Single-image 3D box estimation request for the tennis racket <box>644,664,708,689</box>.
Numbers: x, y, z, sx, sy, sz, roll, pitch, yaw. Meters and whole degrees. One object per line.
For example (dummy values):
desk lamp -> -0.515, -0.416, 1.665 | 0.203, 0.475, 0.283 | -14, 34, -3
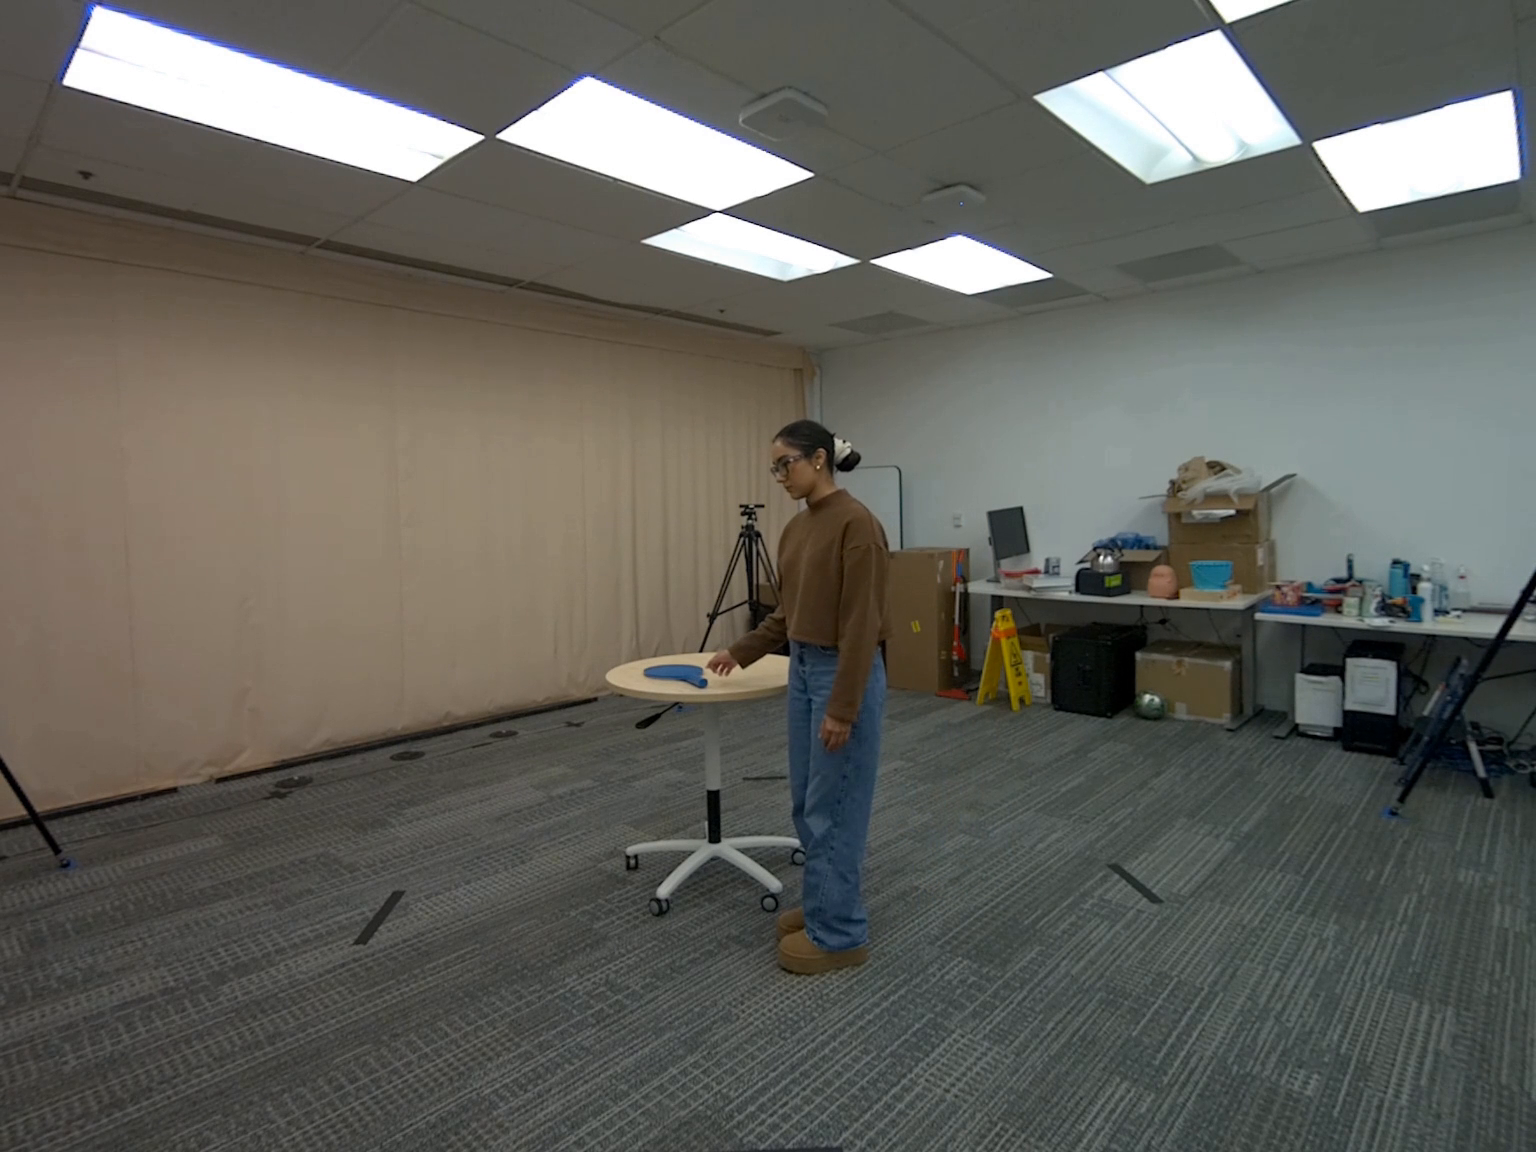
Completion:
tennis racket -> -0.306, 0.353, 3.005 | 0.209, 0.032, 0.443 | -3, 4, -25
